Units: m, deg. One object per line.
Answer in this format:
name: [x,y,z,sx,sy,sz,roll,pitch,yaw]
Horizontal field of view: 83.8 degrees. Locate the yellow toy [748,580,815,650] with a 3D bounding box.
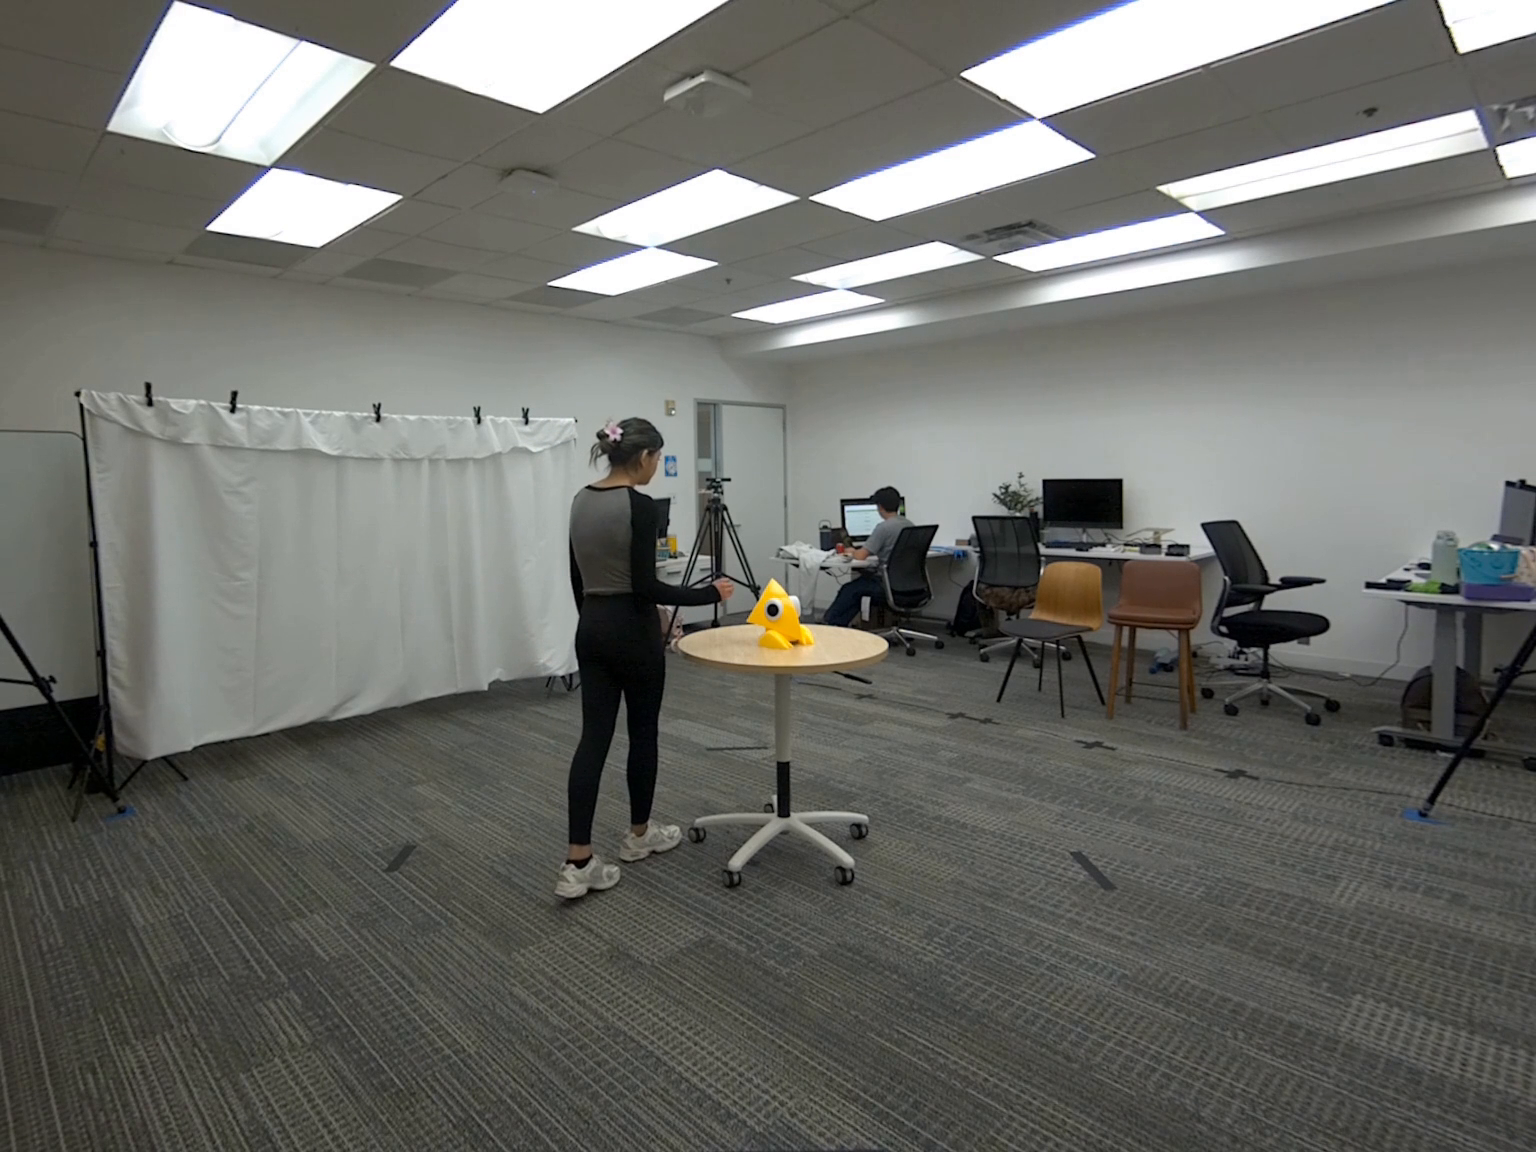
yellow toy: [0.060,0.131,3.113,0.199,0.230,0.199,-4,7,-40]
